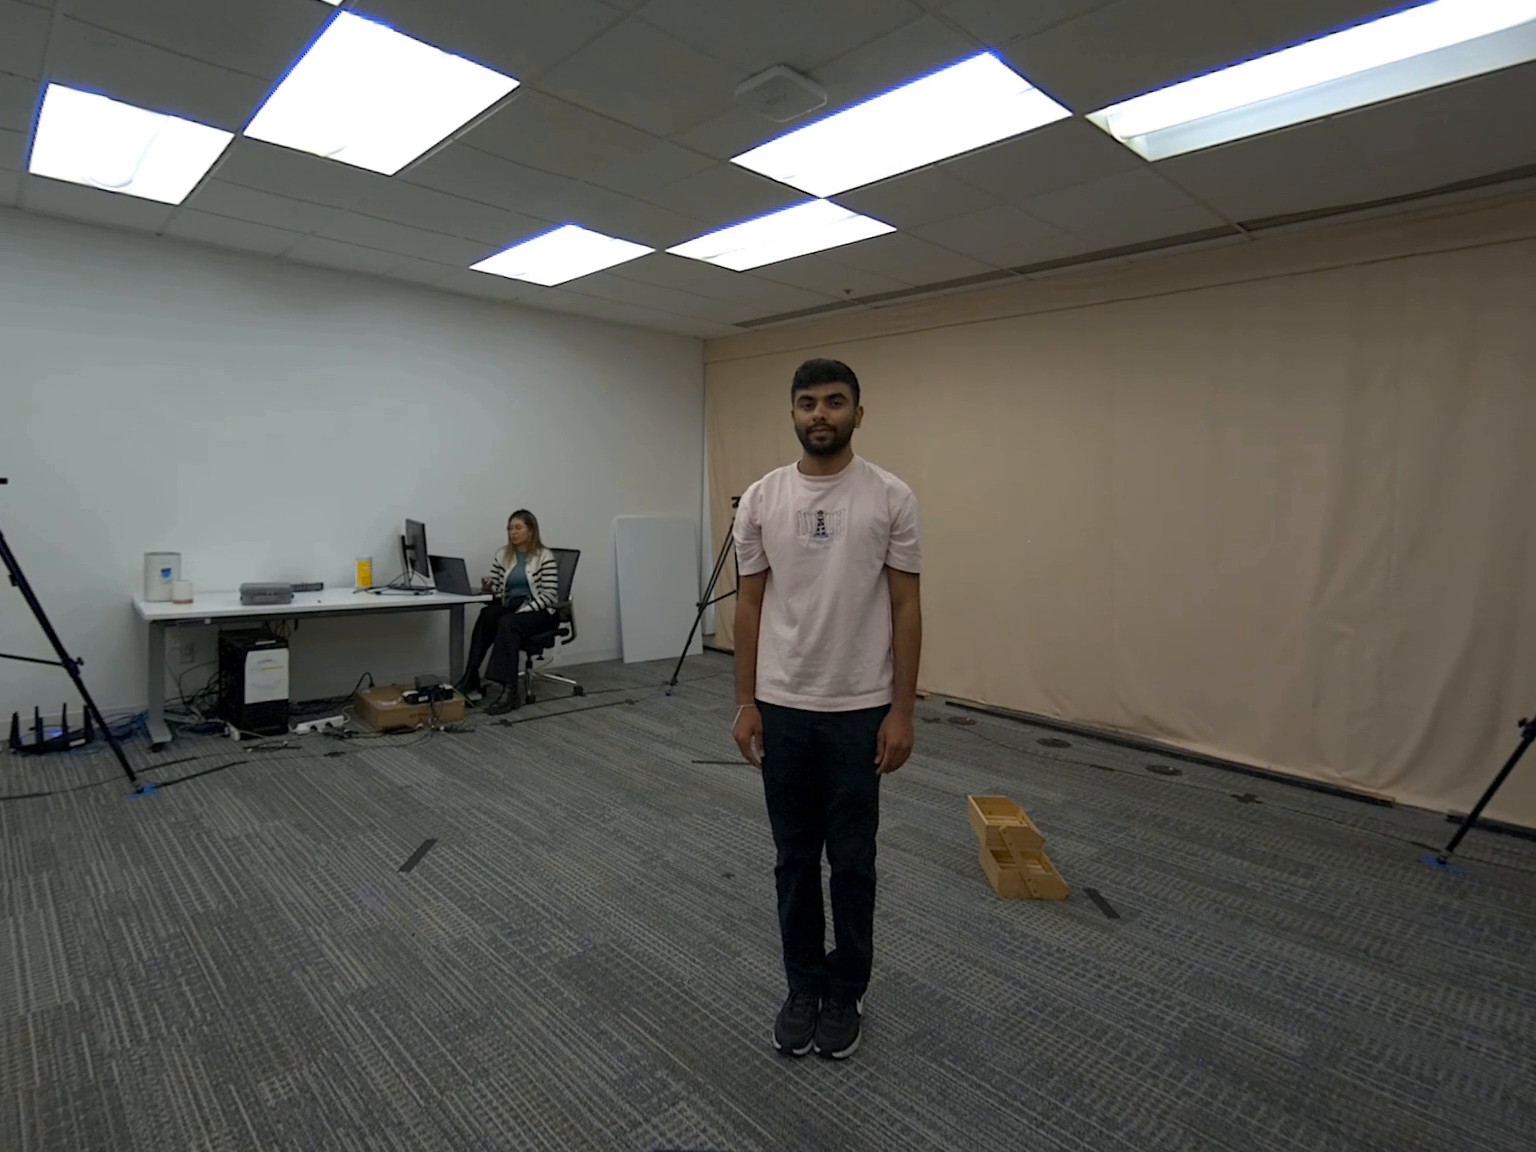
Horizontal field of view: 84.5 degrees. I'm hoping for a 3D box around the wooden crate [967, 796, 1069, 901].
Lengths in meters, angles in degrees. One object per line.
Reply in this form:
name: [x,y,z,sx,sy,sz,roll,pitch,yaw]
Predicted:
wooden crate: [0.924,1.000,3.136,0.302,0.273,0.325,2,4,1]
